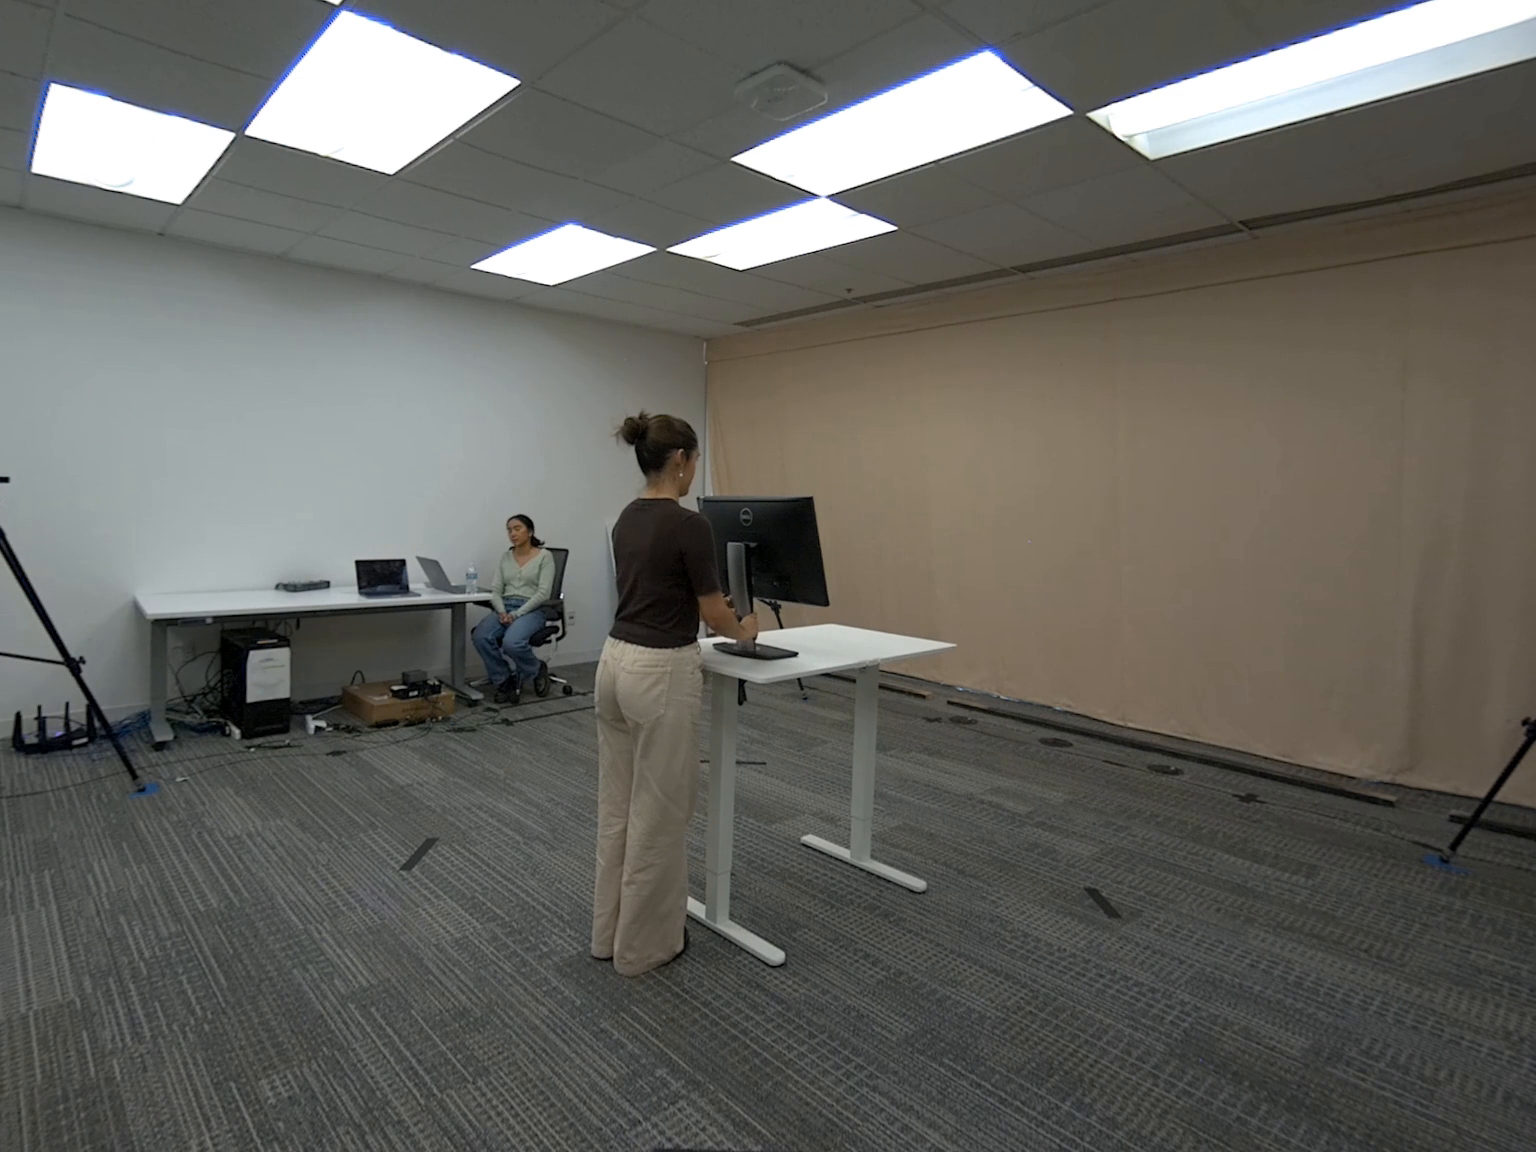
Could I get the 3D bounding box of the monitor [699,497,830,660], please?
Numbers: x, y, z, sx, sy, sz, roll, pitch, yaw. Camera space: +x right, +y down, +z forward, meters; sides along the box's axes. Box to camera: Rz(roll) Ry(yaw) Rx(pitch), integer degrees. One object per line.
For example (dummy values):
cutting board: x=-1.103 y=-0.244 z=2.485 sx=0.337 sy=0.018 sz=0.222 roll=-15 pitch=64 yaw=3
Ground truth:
monitor: x=-0.049 y=-0.002 z=2.745 sx=0.170 sy=0.516 sz=0.543 roll=4 pitch=0 yaw=-45
